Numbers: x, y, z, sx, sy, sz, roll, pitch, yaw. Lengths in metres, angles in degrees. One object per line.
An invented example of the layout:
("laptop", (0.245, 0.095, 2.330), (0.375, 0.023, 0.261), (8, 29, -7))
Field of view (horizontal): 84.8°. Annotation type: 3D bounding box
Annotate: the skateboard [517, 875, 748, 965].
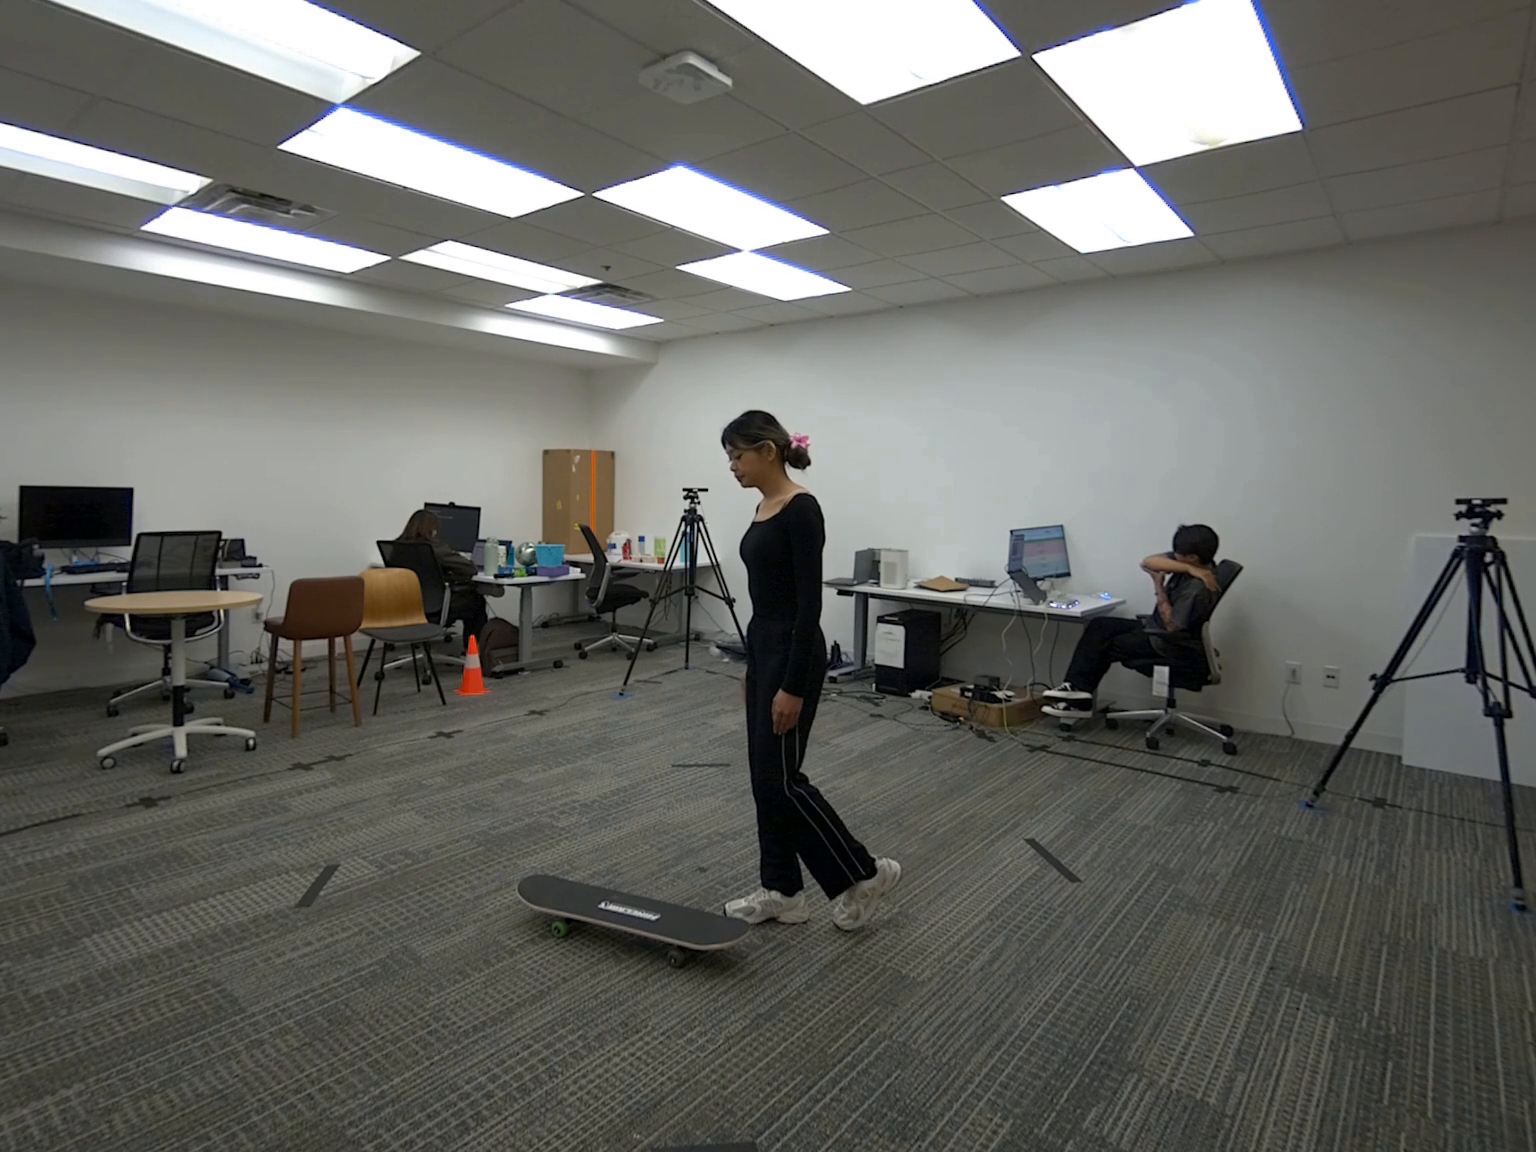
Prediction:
("skateboard", (-0.441, 1.054, 2.618), (0.803, 0.110, 0.190), (3, 5, 21))
